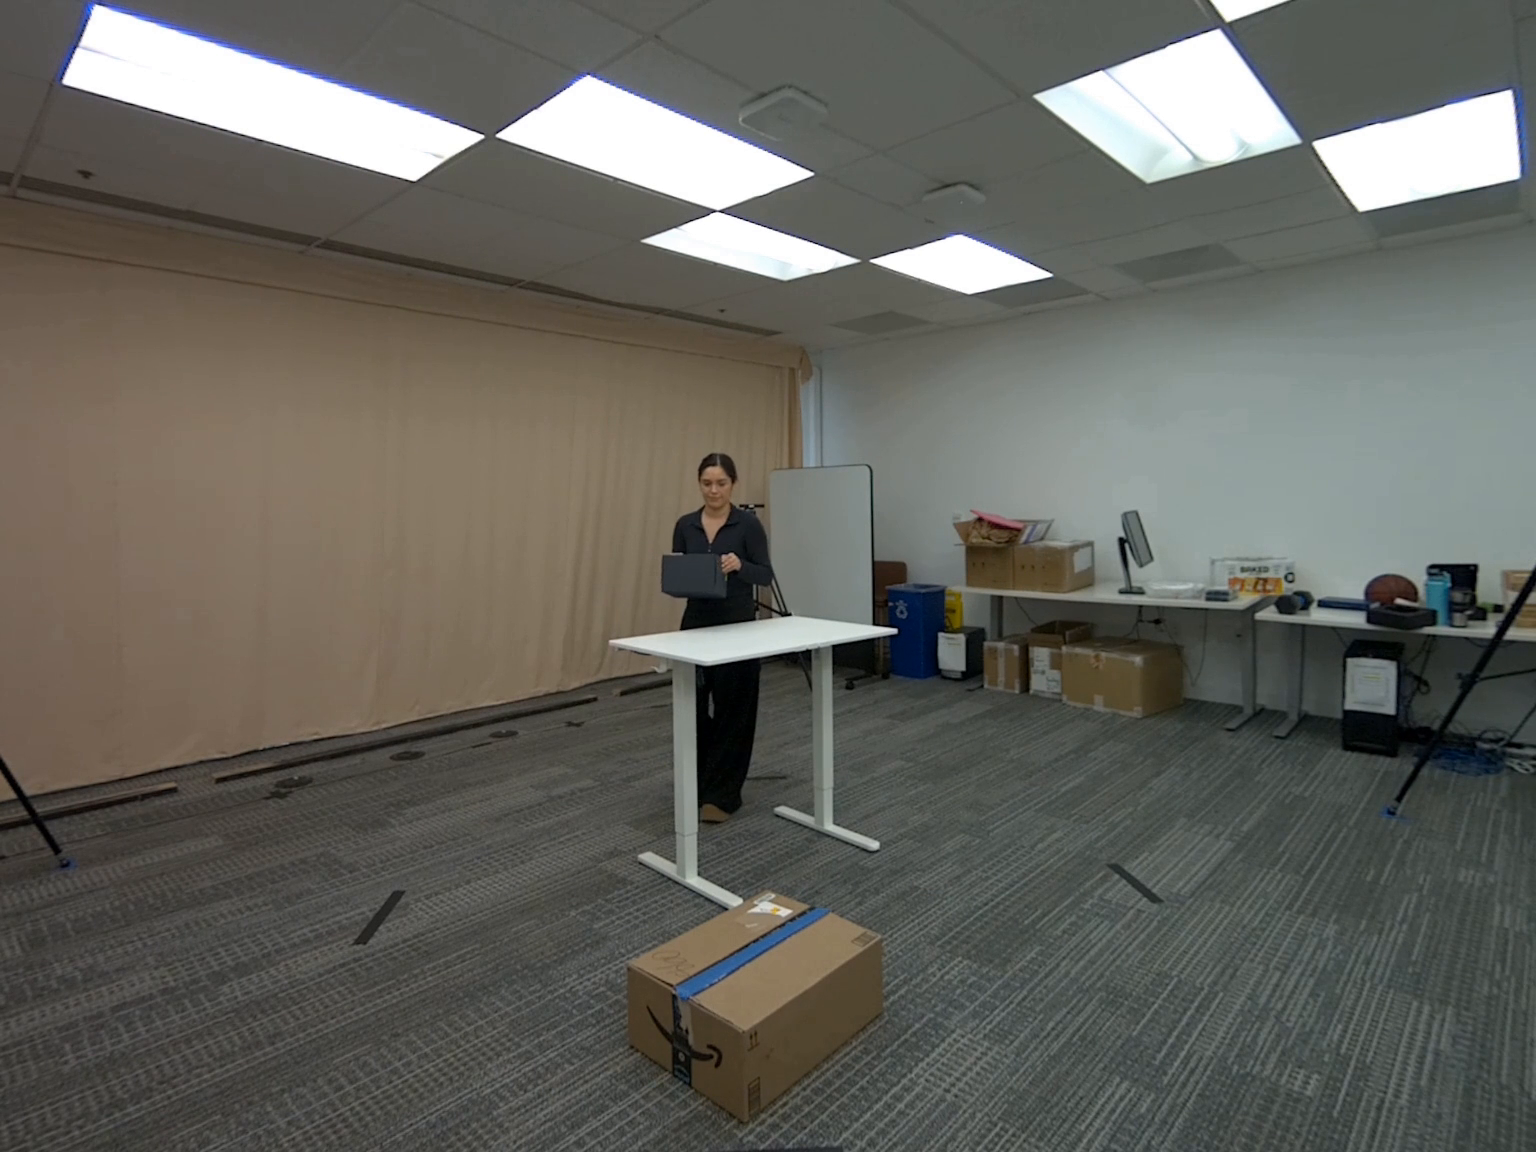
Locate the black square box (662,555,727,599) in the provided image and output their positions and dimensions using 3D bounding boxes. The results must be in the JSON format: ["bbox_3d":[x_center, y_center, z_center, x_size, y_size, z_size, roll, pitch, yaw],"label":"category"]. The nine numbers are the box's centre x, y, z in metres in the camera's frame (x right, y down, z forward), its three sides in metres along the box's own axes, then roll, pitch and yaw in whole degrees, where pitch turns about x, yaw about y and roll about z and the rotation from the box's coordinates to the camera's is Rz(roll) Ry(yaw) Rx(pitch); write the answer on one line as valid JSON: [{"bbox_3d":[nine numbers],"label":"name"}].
[{"bbox_3d":[-0.302,0.004,3.530,0.230,0.157,0.213,0,-8,8],"label":"black square box"}]
